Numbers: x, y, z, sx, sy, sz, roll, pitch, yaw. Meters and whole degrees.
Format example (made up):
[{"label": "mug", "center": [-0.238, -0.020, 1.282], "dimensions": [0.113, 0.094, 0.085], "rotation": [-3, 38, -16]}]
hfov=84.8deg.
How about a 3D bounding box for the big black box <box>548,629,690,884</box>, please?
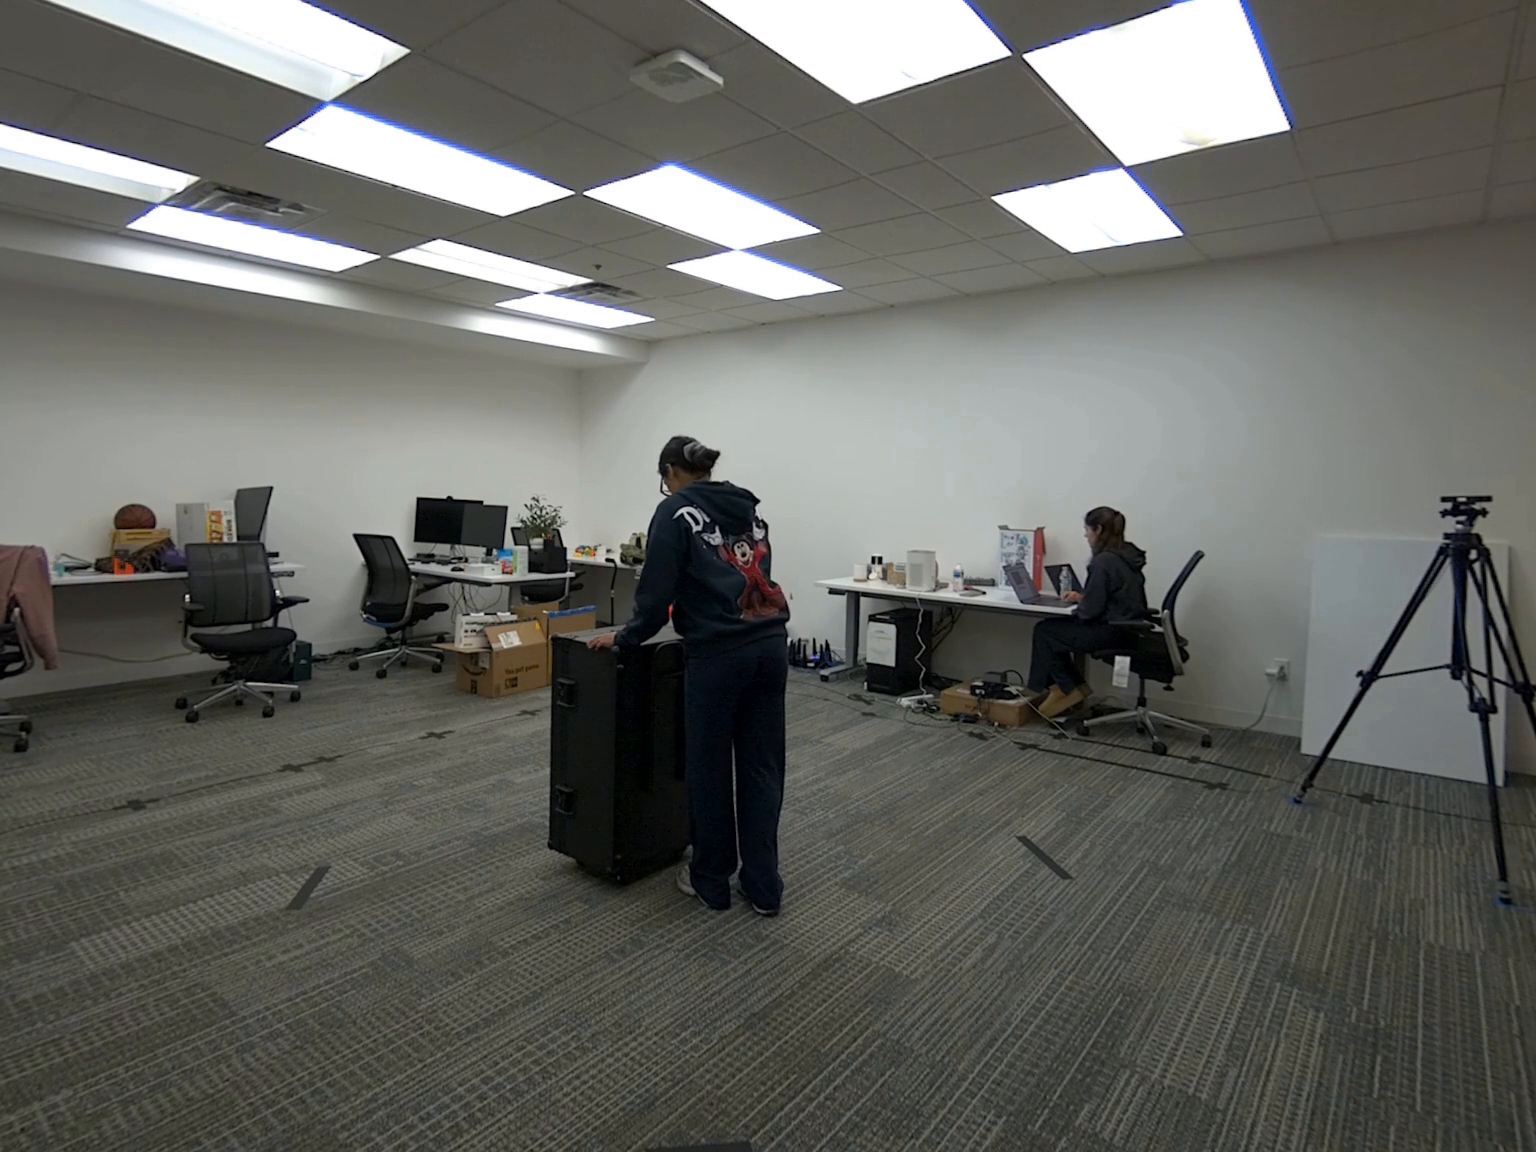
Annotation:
[{"label": "big black box", "center": [-0.512, 0.636, 3.138], "dimensions": [0.410, 0.859, 0.505], "rotation": [4, 4, 40]}]
